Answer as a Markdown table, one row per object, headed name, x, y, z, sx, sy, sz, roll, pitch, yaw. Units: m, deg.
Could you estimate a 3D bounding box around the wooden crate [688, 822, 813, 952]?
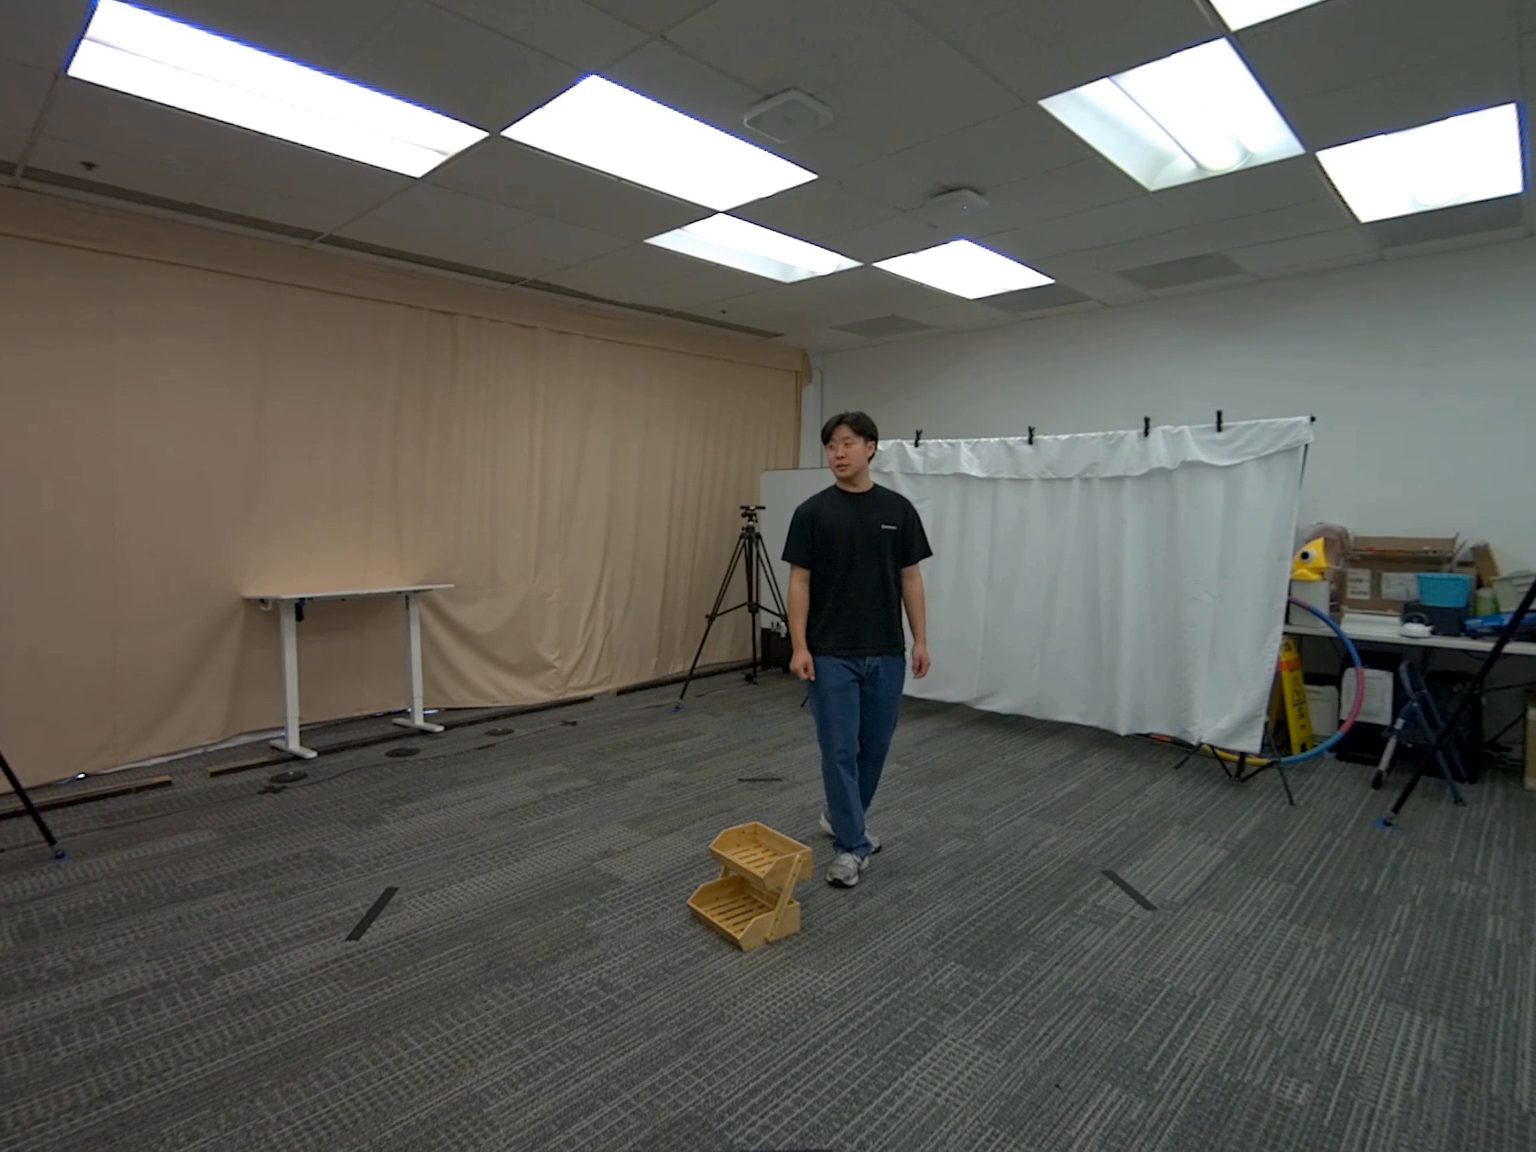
| name | x | y | z | sx | sy | sz | roll | pitch | yaw |
| --- | --- | --- | --- | --- | --- | --- | --- | --- | --- |
| wooden crate | -0.063 | 1.025 | 2.816 | 0.293 | 0.273 | 0.335 | -2 | 4 | -38 |
